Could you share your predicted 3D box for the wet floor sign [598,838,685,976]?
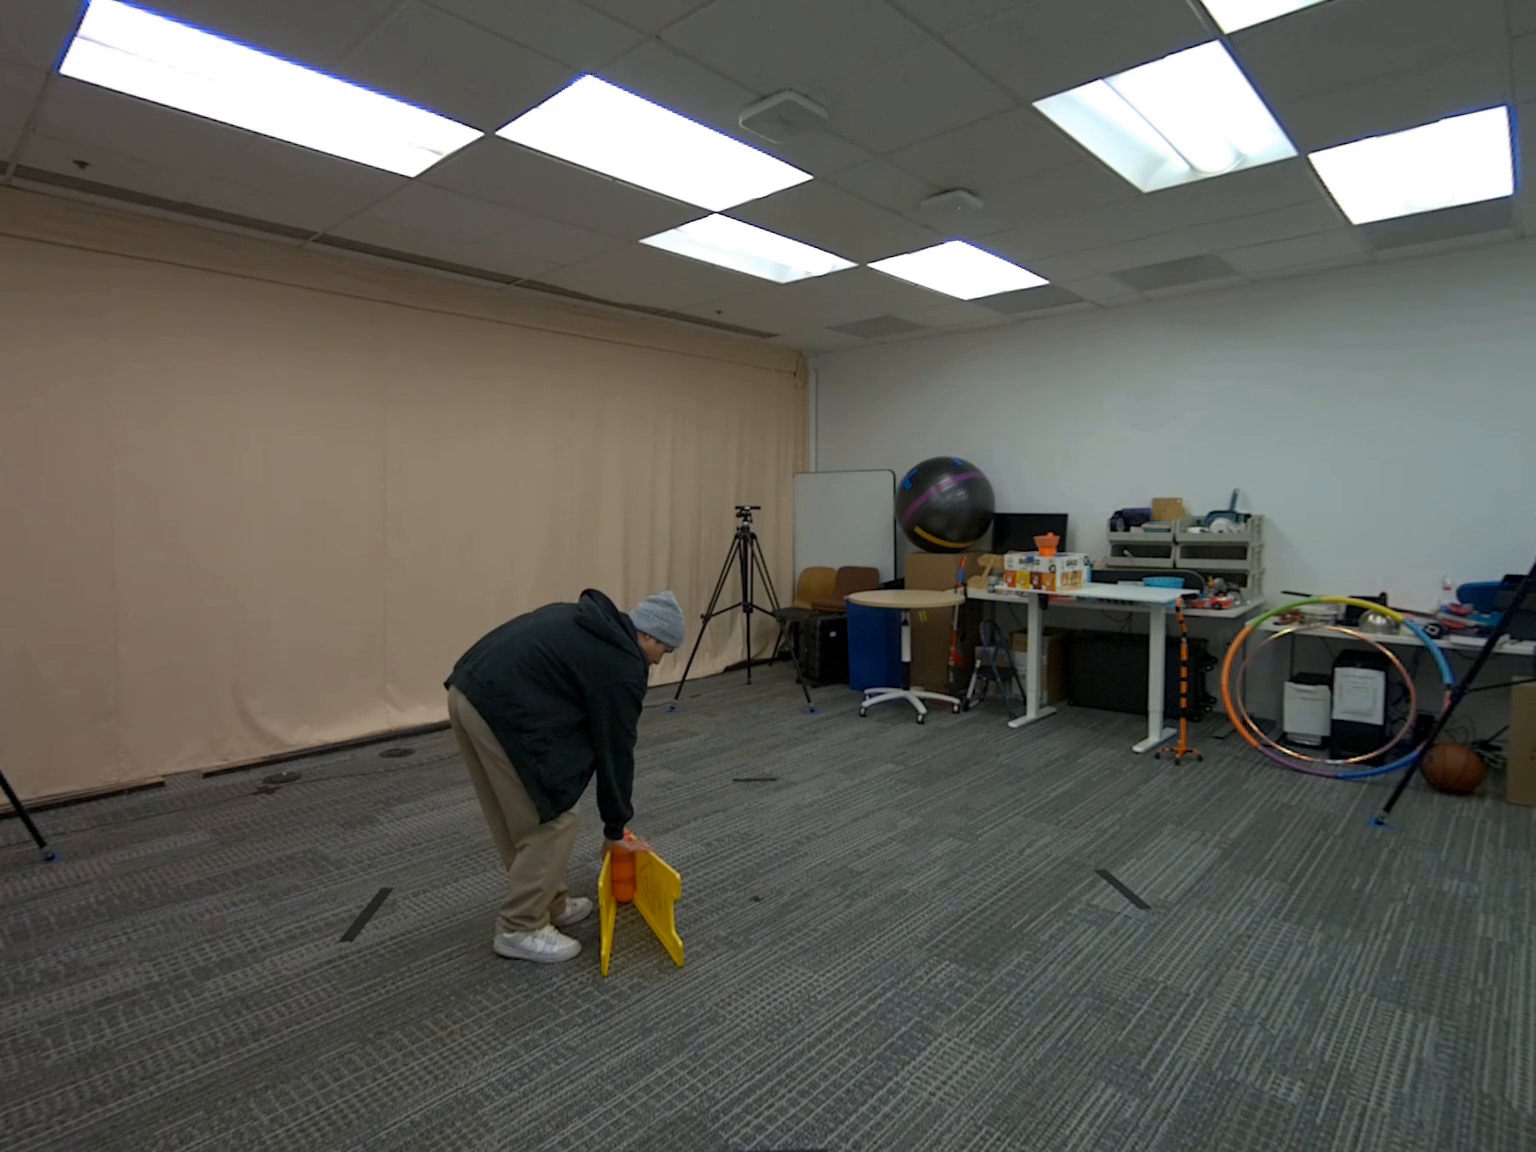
[{"bbox_3d":[-0.476,1.035,2.820,0.285,0.282,0.656,-2,1,-15],"label":"wet floor sign"}]
